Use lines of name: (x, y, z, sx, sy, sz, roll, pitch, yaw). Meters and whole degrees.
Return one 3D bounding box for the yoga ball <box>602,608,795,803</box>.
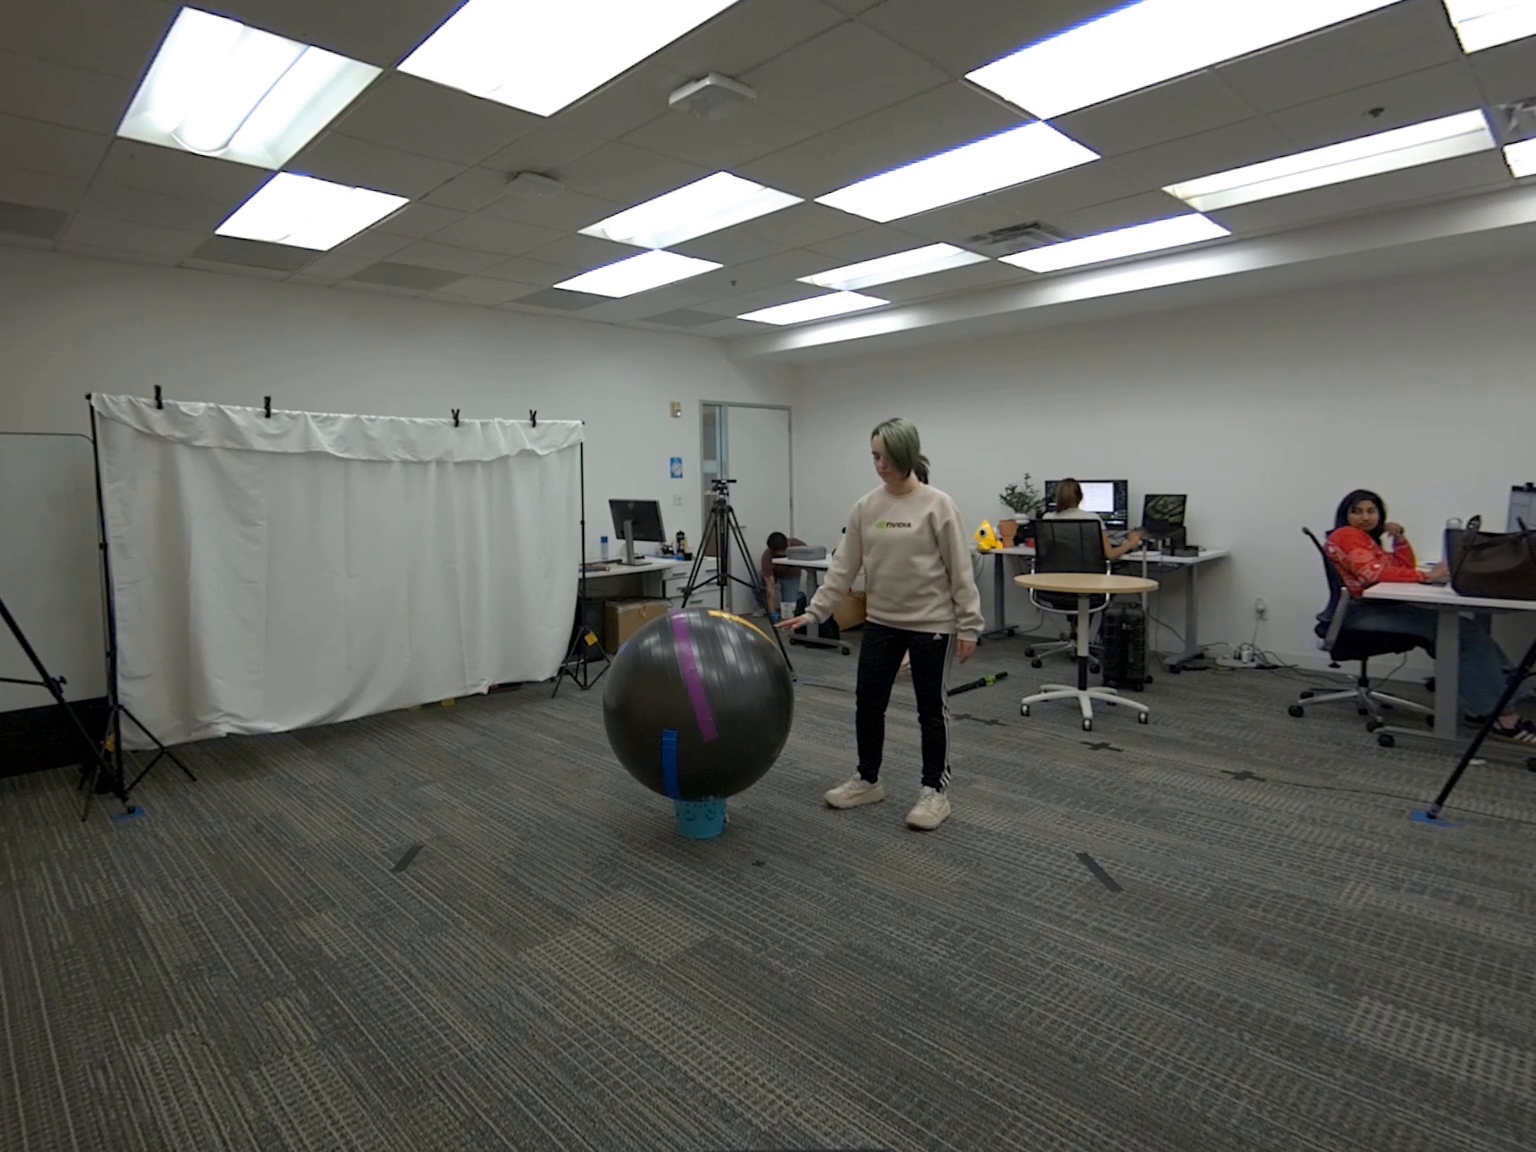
yoga ball: (-0.274, 0.508, 3.398, 0.757, 0.755, 0.762, -1, 5, -2)
